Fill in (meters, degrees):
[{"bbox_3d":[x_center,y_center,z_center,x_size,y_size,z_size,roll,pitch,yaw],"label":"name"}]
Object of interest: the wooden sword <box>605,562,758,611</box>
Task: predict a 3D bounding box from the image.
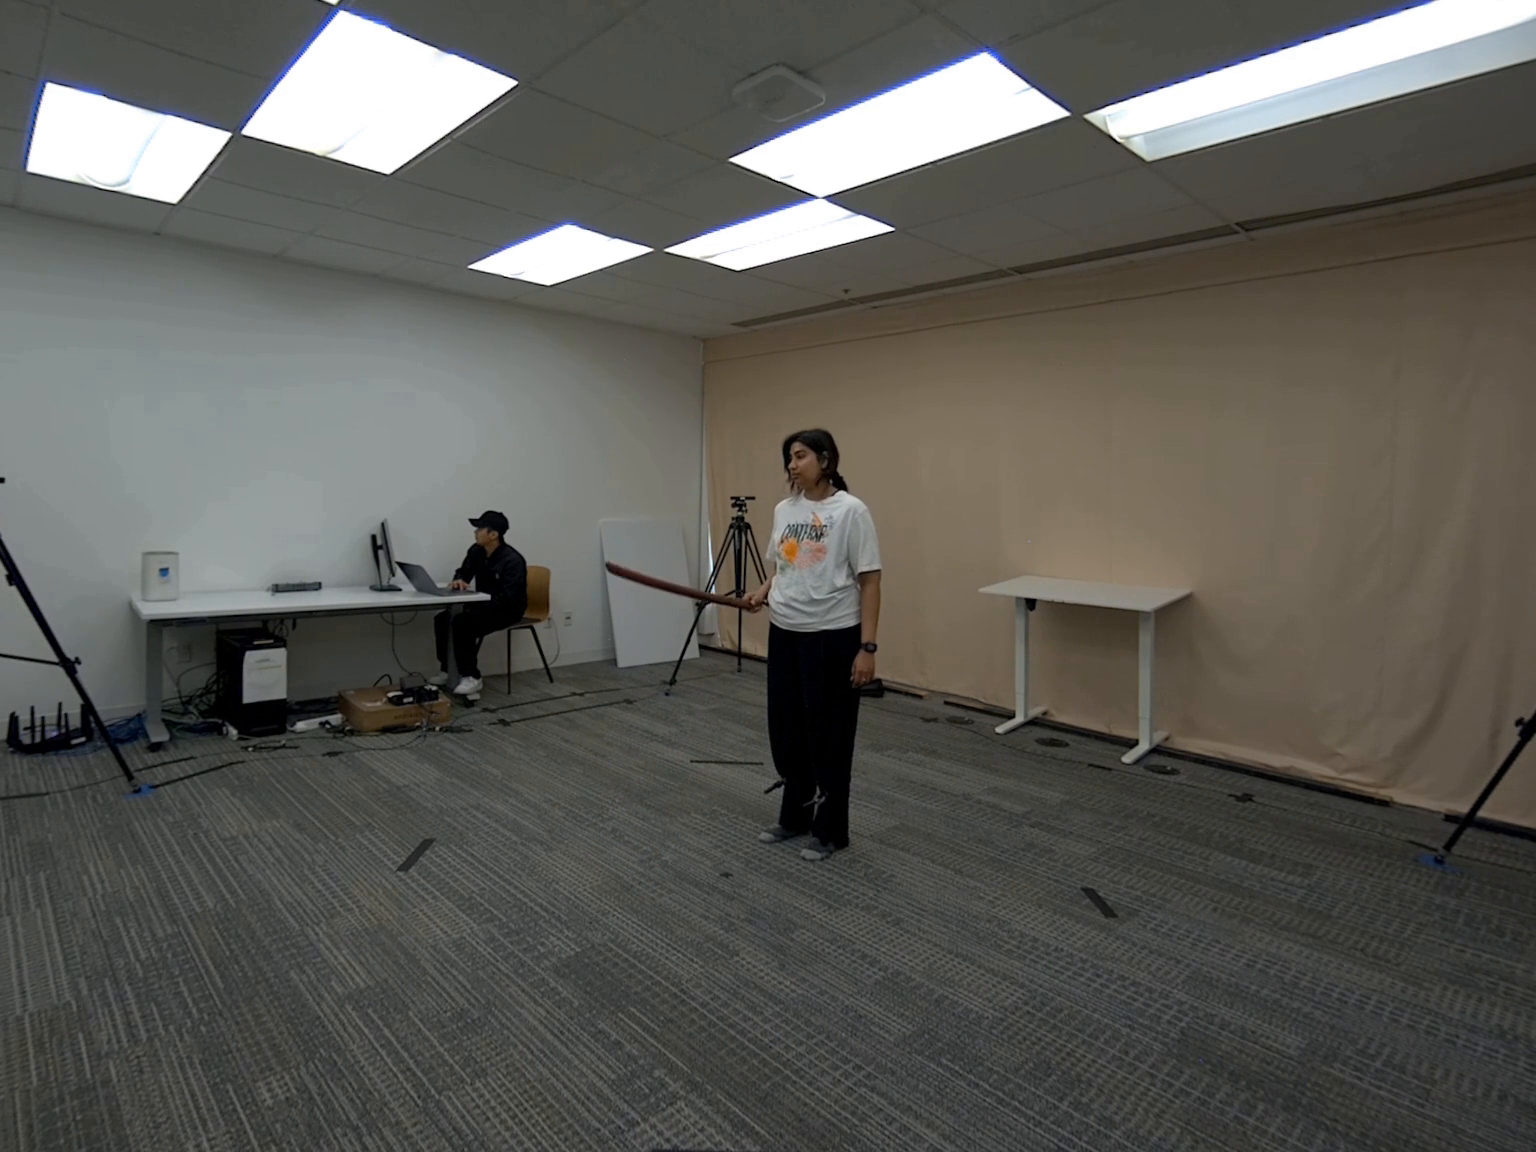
[{"bbox_3d":[-0.265,0.061,2.943,0.052,0.024,0.998,-26,-21,20],"label":"wooden sword"}]
